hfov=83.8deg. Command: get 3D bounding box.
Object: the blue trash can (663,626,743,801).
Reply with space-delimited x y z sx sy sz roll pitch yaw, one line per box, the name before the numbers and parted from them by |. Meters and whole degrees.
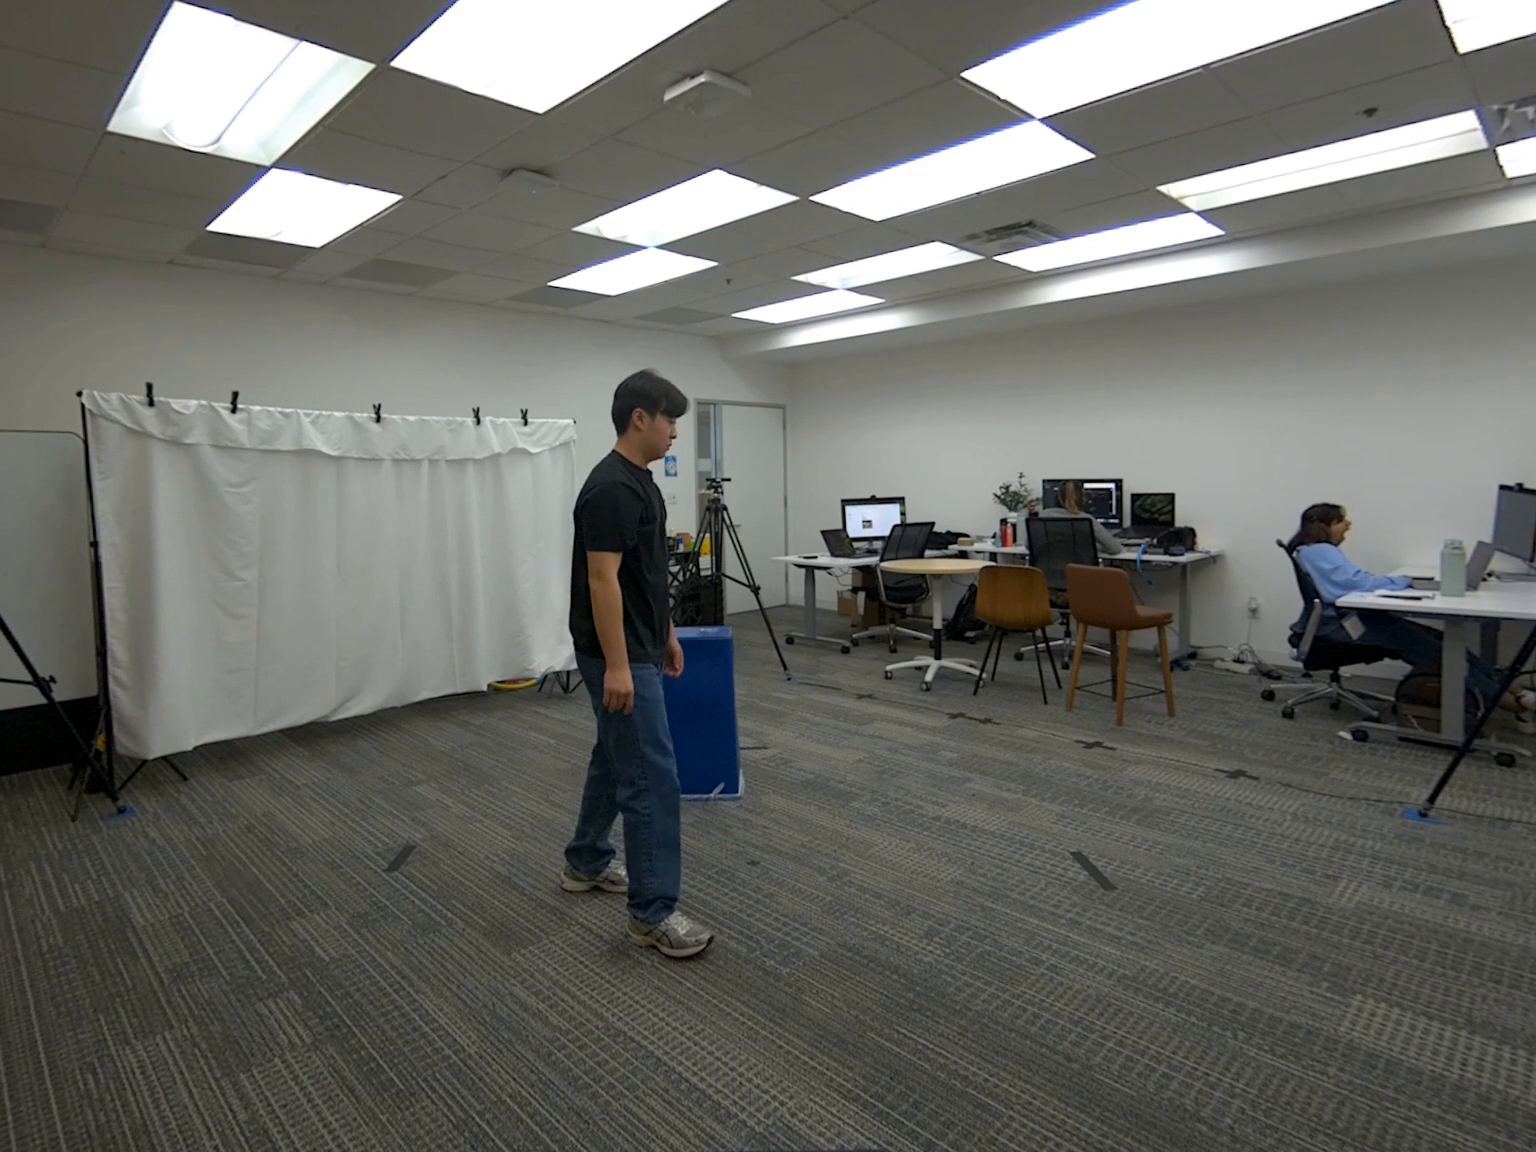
blue trash can | -0.302 0.609 3.893 0.378 0.712 0.375 -1 2 -1
